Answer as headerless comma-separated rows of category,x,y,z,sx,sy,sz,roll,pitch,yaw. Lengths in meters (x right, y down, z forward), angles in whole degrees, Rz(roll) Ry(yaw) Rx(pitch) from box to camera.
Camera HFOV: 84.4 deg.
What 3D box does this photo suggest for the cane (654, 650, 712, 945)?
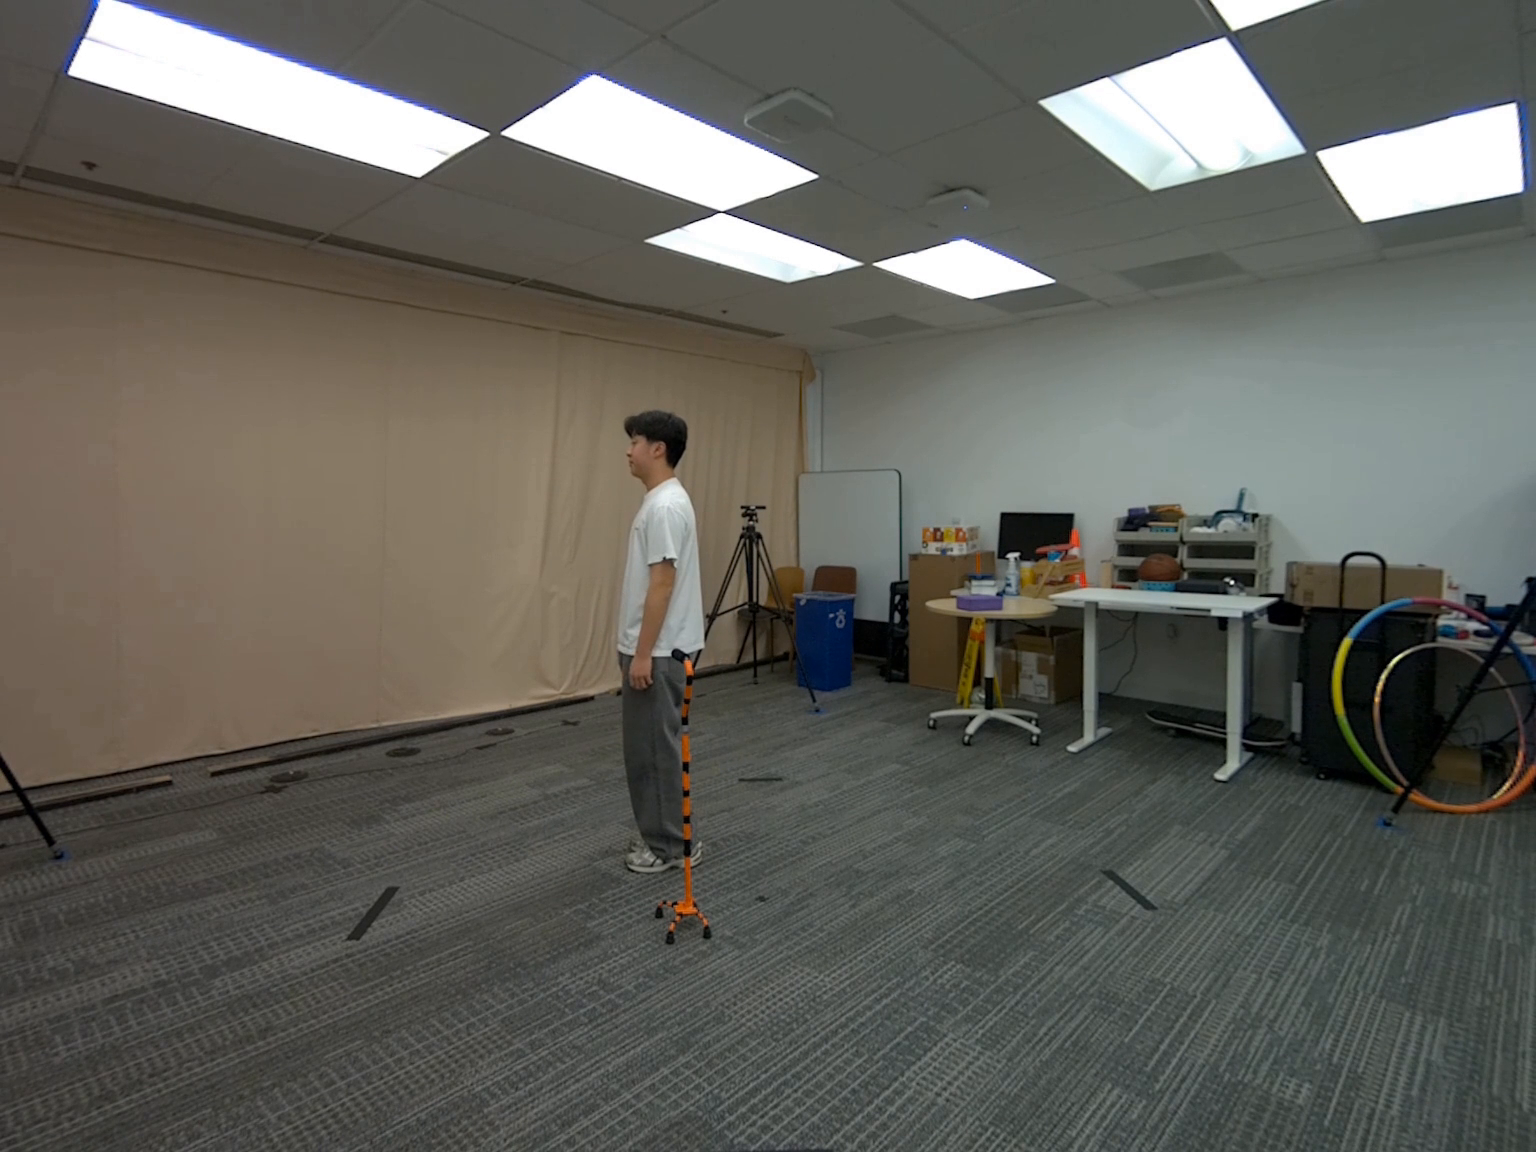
cane,-0.268,0.711,2.762,0.149,0.905,0.211,-1,4,-19
